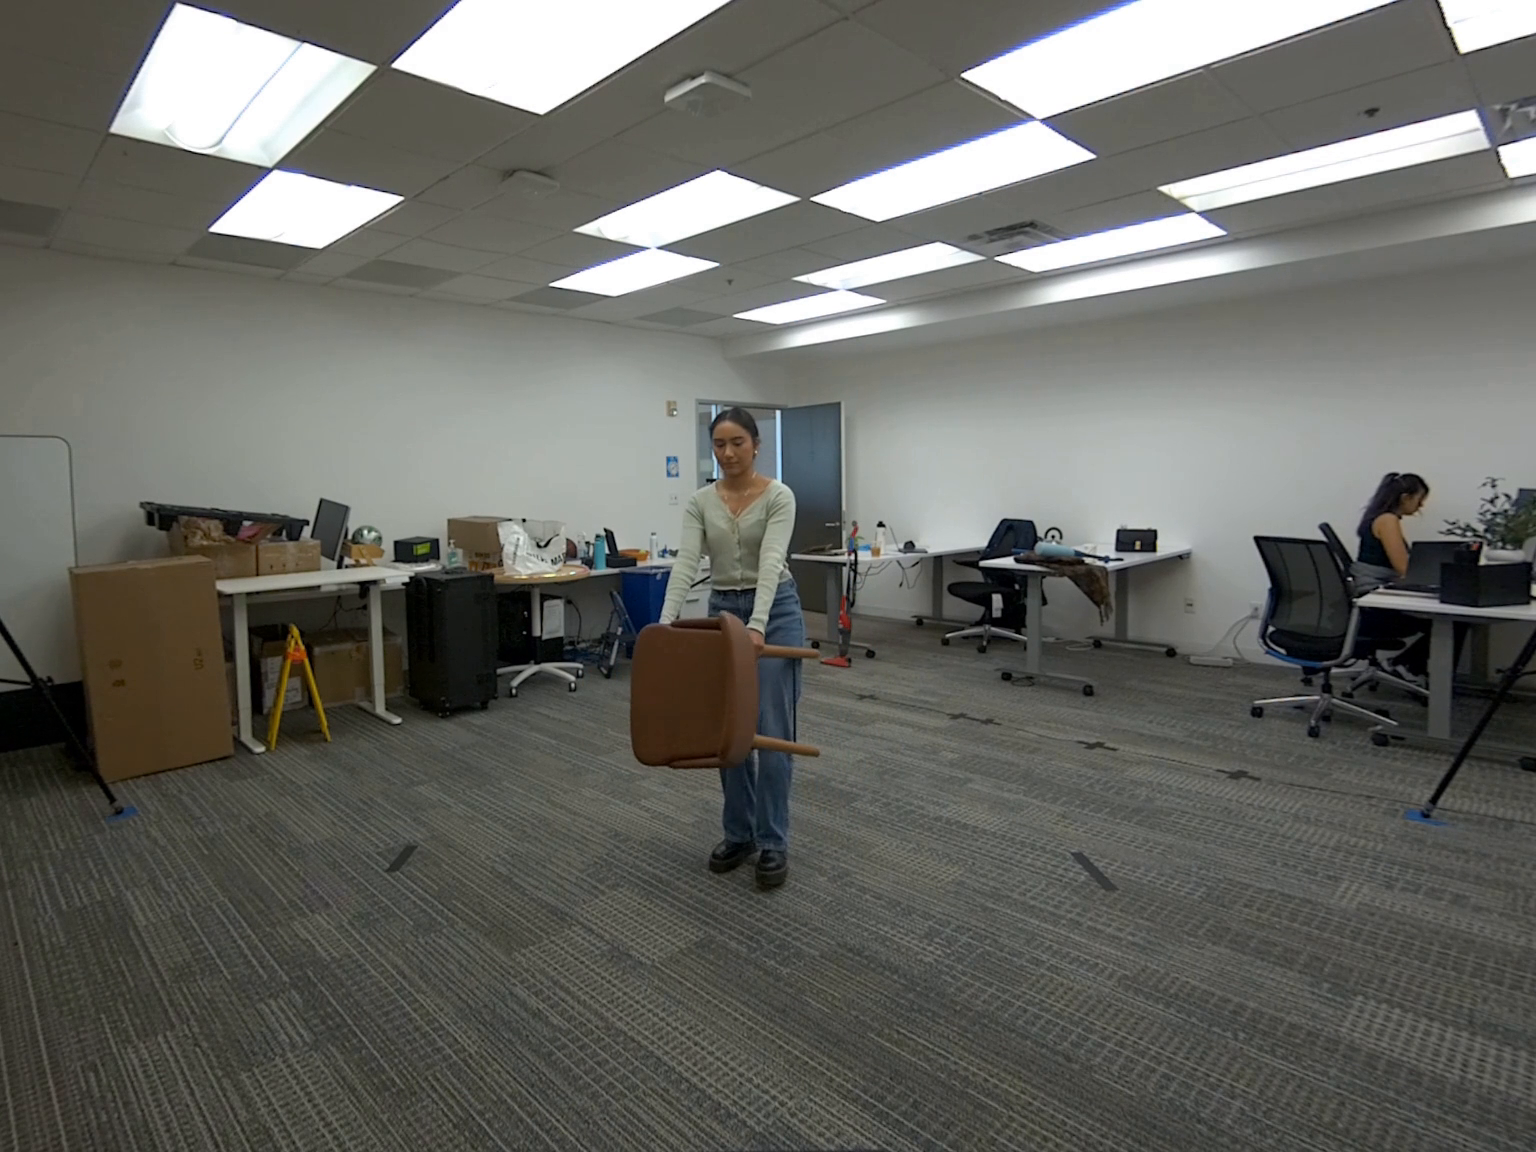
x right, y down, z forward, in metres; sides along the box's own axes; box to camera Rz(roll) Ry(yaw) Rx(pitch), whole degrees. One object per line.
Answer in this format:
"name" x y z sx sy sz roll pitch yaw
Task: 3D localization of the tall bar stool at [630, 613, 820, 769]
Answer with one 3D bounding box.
"tall bar stool" -0.163 0.392 2.759 0.476 0.462 0.864 -4 -13 19
